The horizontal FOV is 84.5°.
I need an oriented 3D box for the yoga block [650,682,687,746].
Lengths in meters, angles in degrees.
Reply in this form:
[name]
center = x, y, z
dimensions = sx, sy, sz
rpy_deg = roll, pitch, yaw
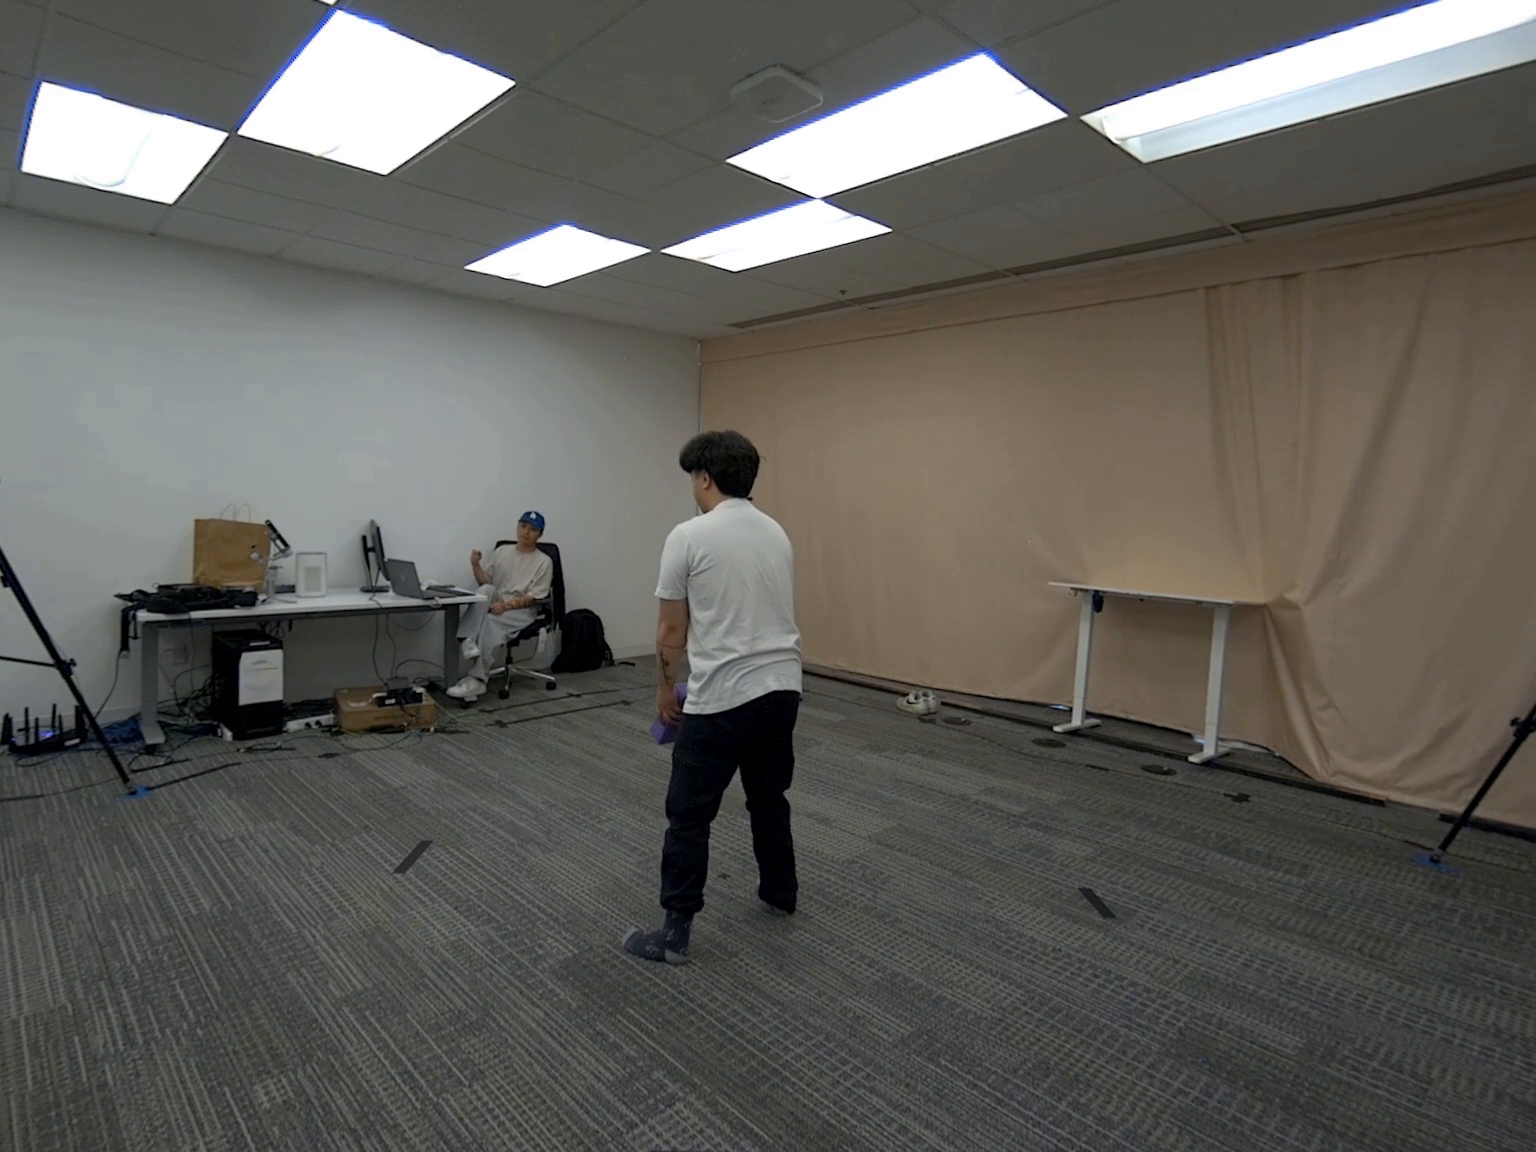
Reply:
[yoga block]
center = -0.297, 0.472, 2.897
dimensions = 0.145, 0.228, 0.079
rpy_deg = -1, 39, -44
